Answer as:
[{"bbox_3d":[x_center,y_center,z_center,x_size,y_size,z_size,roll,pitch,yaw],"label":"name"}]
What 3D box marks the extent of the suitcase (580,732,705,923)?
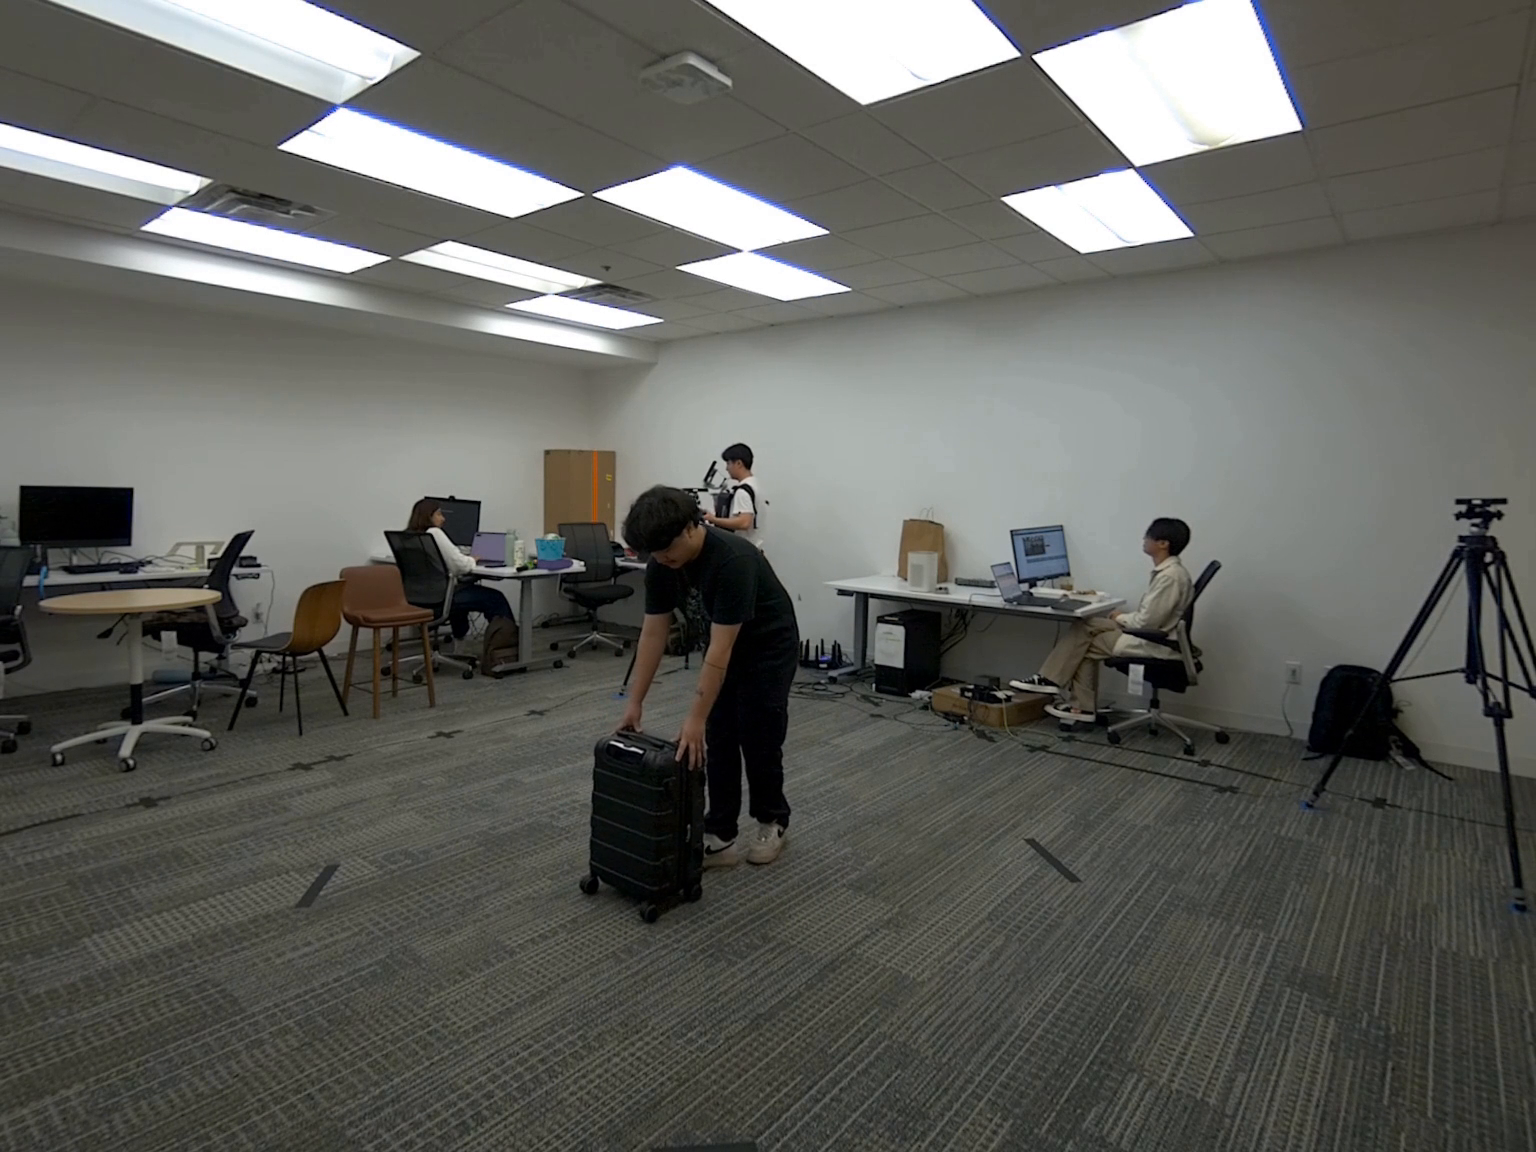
[{"bbox_3d":[-0.425,0.813,2.903,0.388,0.549,0.240,3,1,40],"label":"suitcase"}]
